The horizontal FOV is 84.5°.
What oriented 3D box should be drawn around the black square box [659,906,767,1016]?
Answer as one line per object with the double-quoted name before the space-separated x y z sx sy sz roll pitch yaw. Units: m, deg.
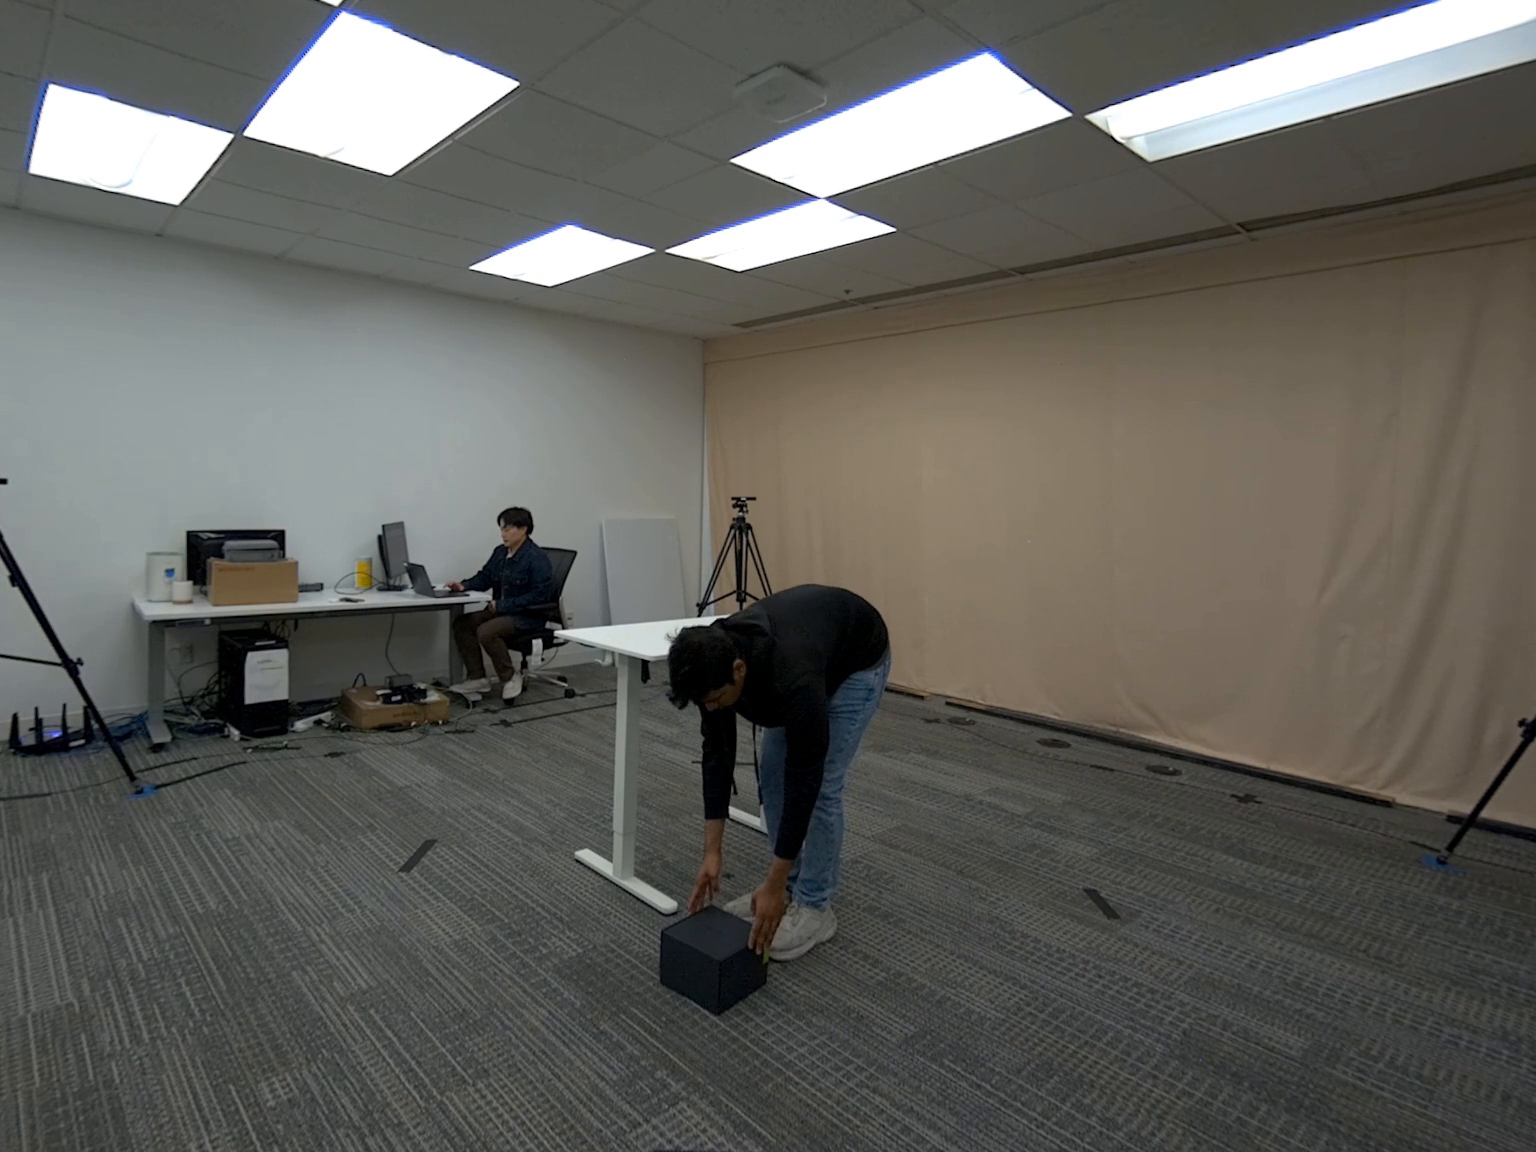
"black square box" -0.157 1.085 2.406 0.234 0.155 0.212 6 6 39
